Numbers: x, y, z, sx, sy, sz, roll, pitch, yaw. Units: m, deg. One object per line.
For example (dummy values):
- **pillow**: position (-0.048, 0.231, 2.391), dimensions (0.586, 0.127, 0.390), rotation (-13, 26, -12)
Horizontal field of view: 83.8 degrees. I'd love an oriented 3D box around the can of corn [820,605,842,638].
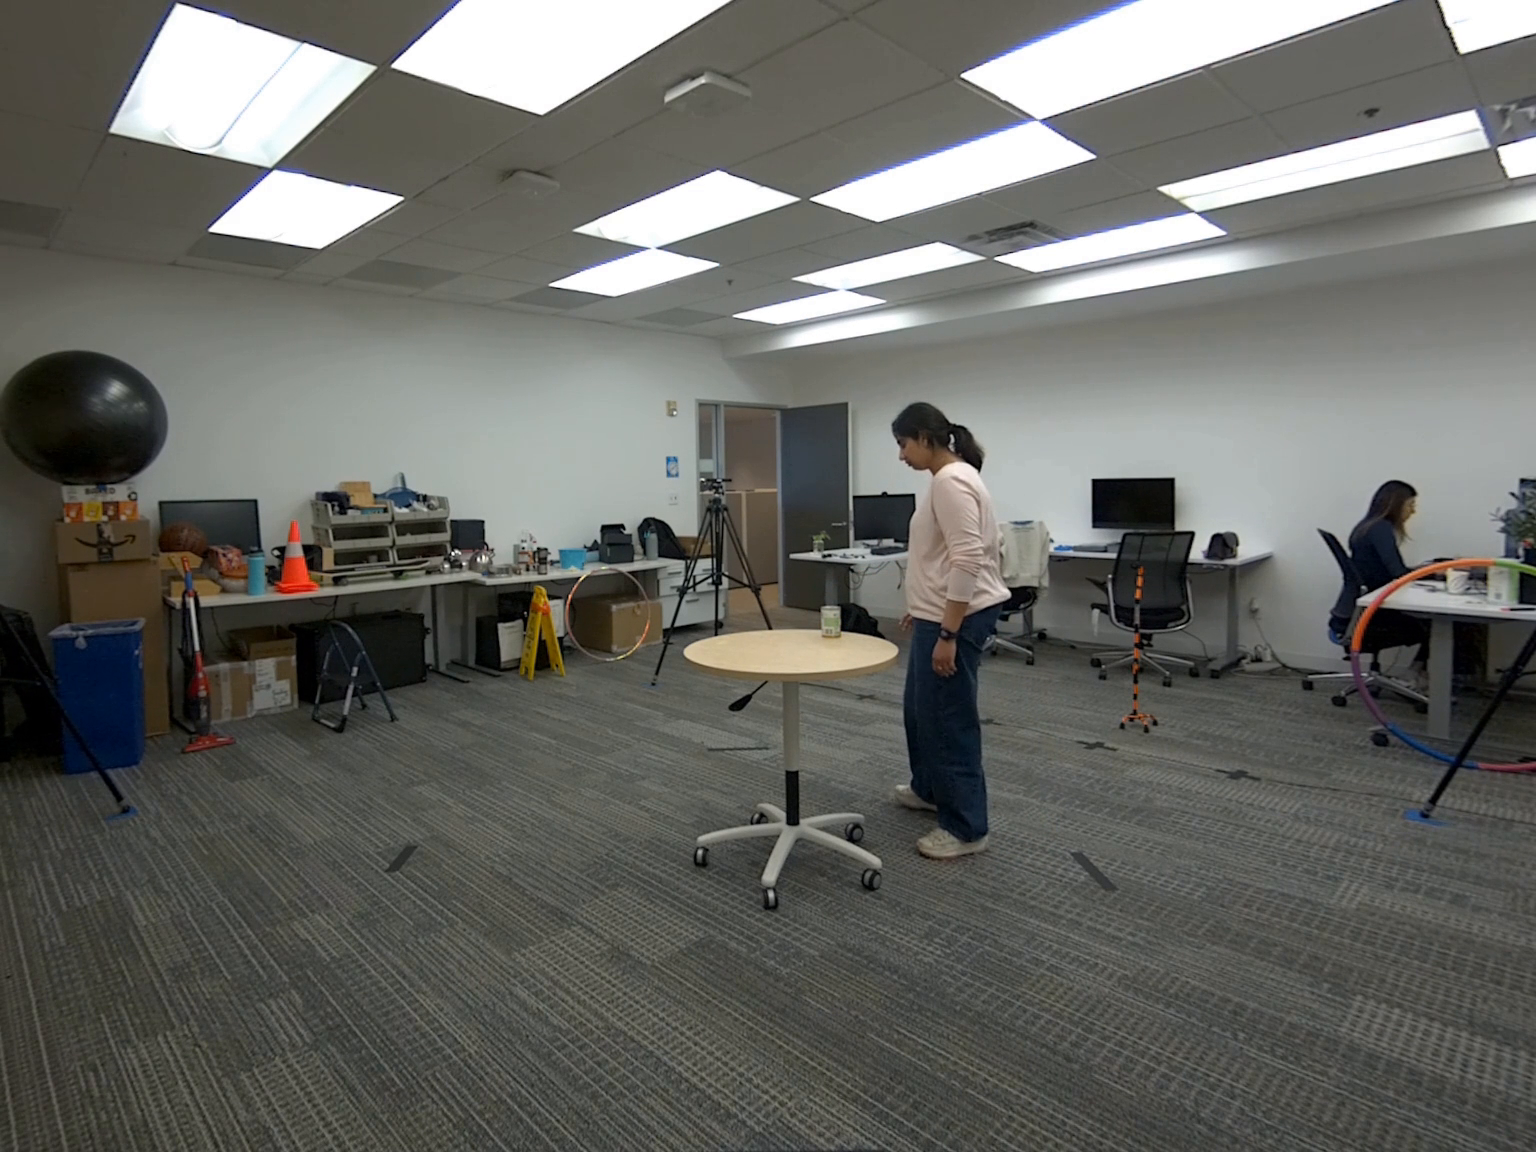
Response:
- **can of corn**: position (0.245, 0.173, 3.291), dimensions (0.074, 0.110, 0.074), rotation (-2, 5, -1)
